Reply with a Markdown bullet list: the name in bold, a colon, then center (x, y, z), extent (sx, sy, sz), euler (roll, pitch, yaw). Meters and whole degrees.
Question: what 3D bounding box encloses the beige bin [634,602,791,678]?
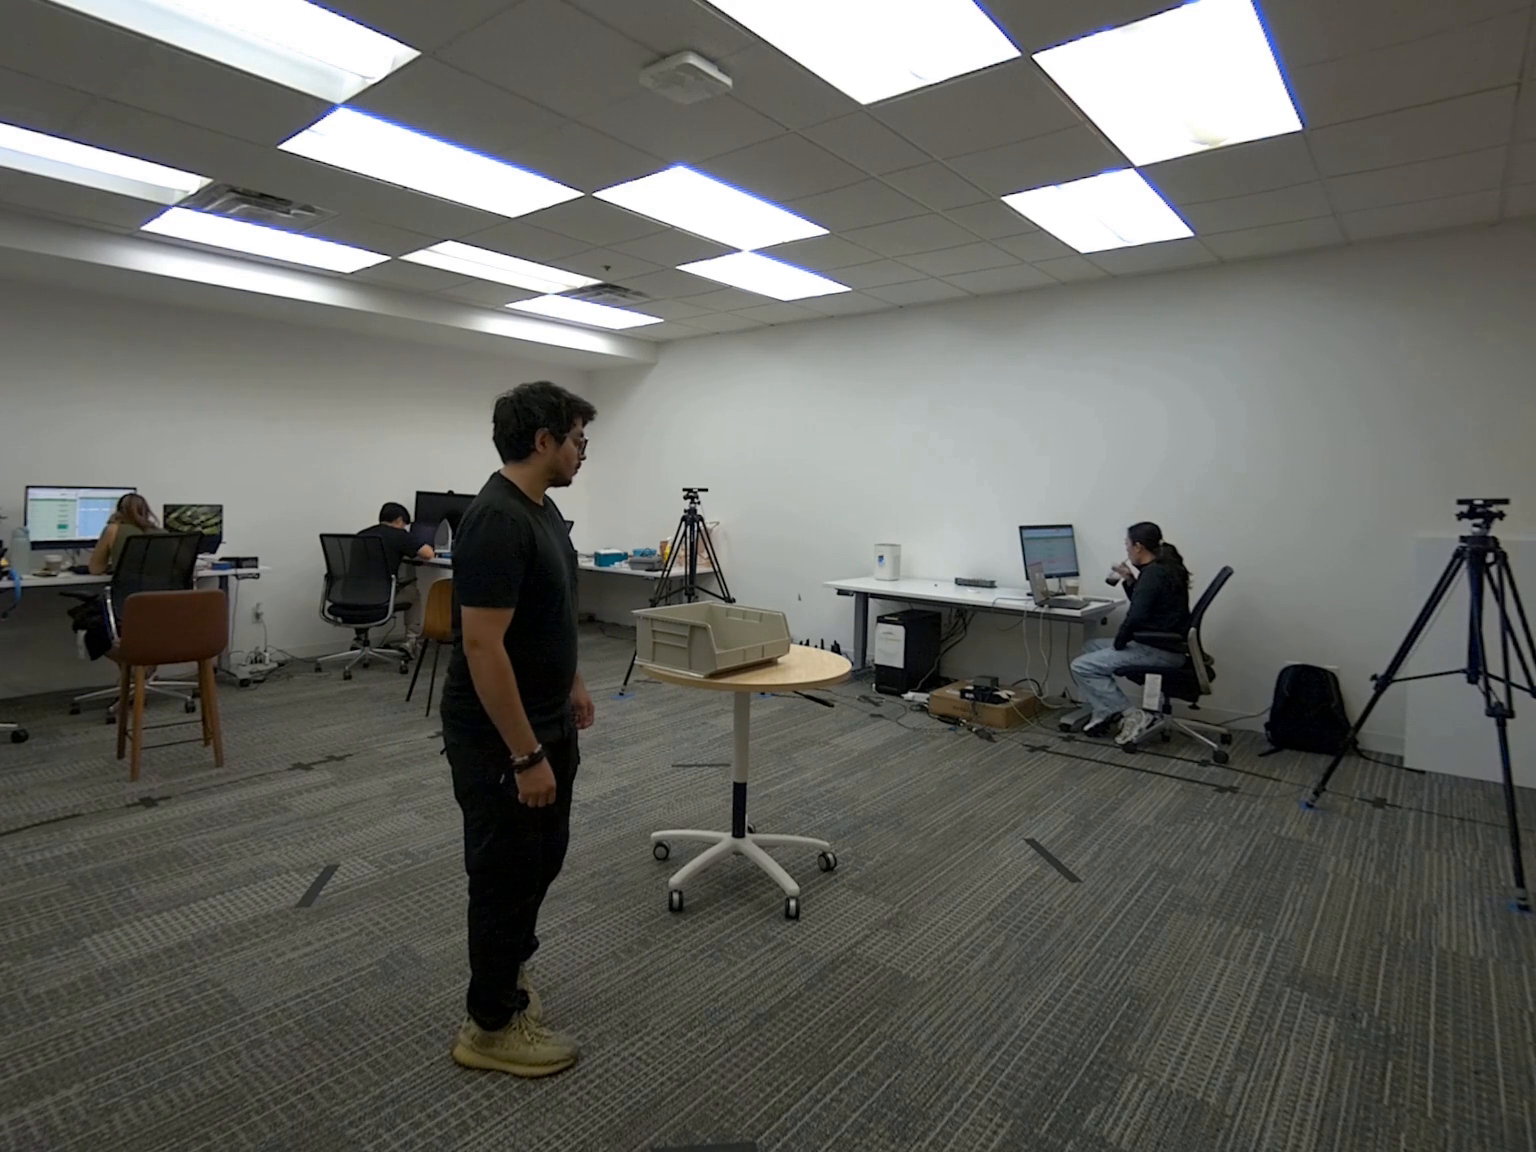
- **beige bin**: center (-0.198, 0.212, 2.941), extent (0.390, 0.188, 0.410), euler (4, 6, 38)
